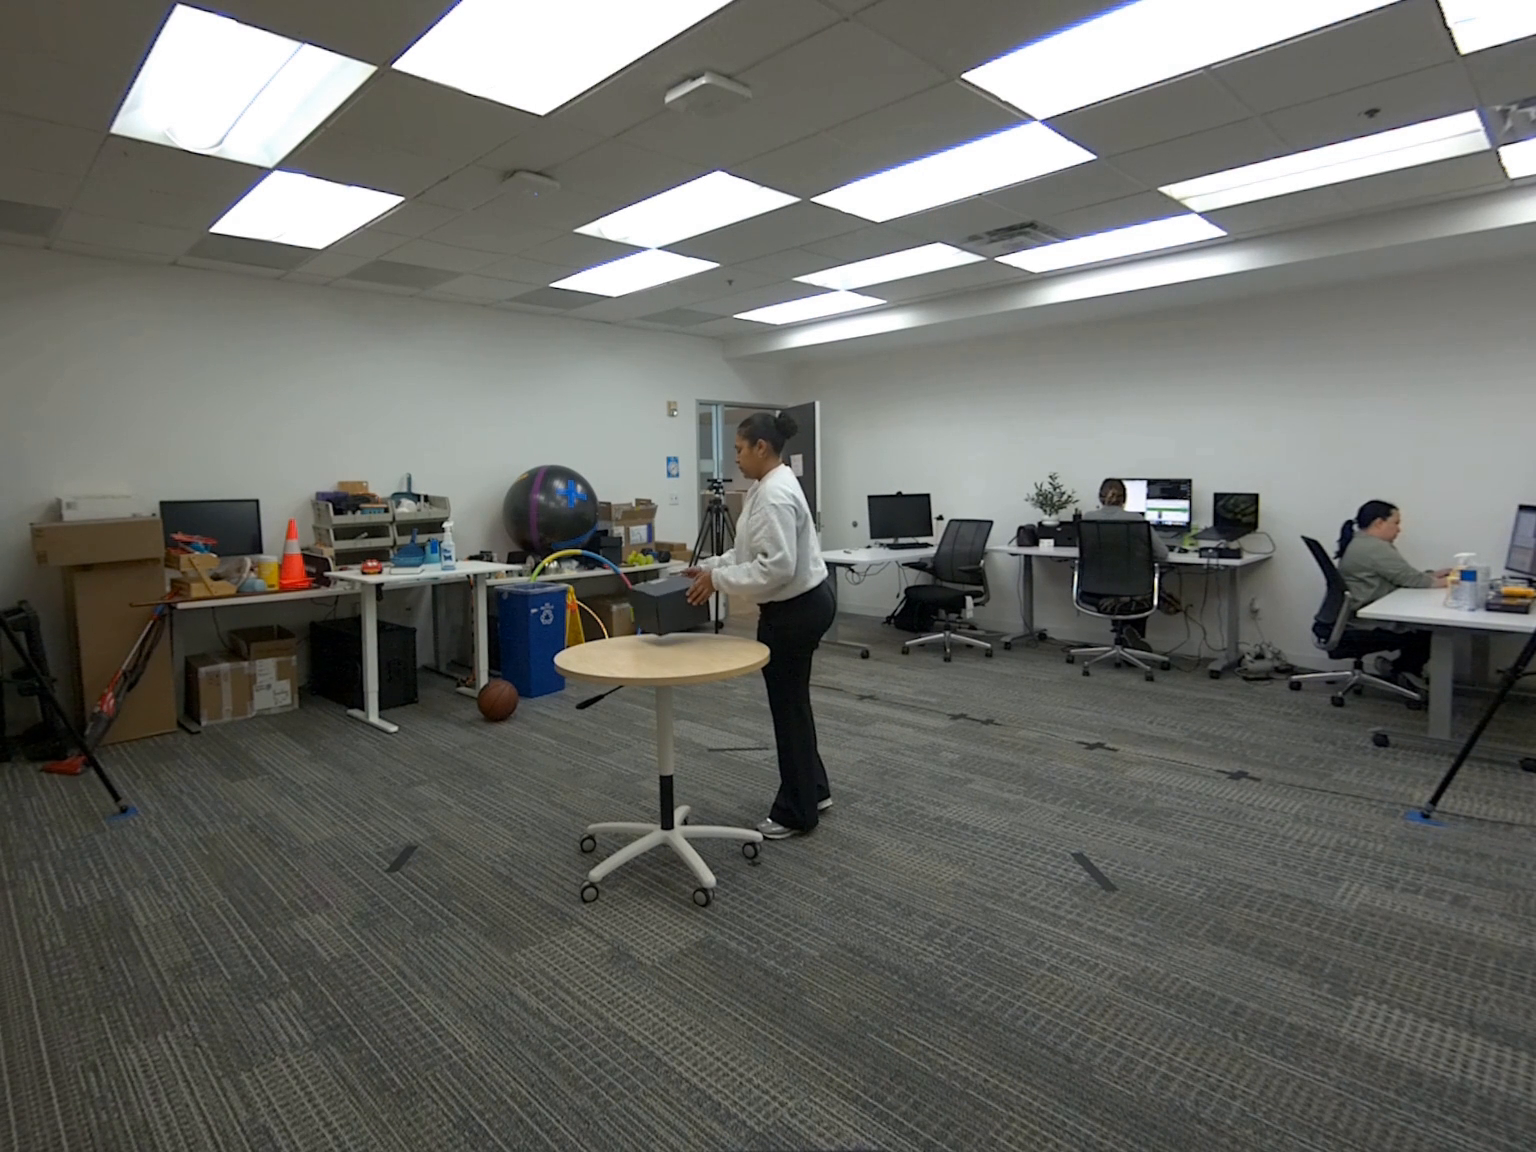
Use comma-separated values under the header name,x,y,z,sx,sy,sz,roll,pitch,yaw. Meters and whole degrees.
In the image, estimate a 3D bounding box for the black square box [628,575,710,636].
name,x,y,z,sx,sy,sz,roll,pitch,yaw
black square box,-0.380,0.102,3.264,0.223,0.154,0.224,-15,16,-34
